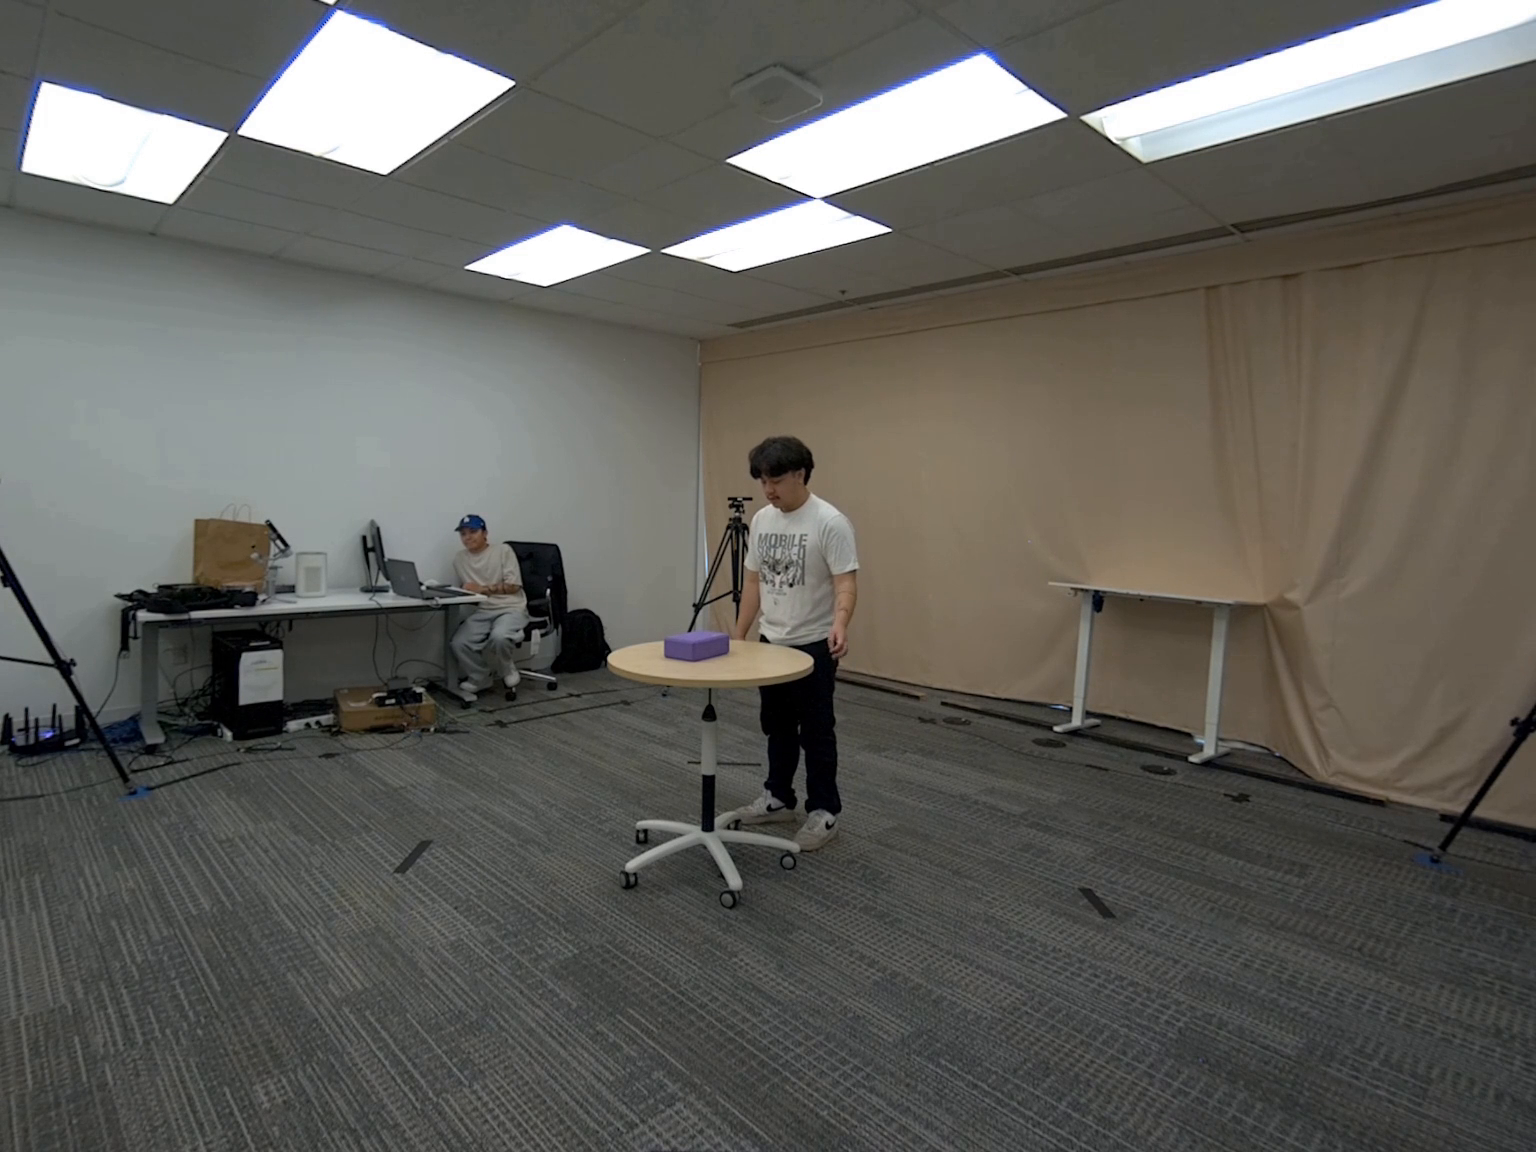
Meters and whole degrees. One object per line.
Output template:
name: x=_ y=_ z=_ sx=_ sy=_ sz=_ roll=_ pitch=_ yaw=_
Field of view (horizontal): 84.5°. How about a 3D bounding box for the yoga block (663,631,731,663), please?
yoga block: x=-0.277 y=0.263 z=3.167 sx=0.152 sy=0.076 sz=0.225 roll=4 pitch=6 yaw=32
